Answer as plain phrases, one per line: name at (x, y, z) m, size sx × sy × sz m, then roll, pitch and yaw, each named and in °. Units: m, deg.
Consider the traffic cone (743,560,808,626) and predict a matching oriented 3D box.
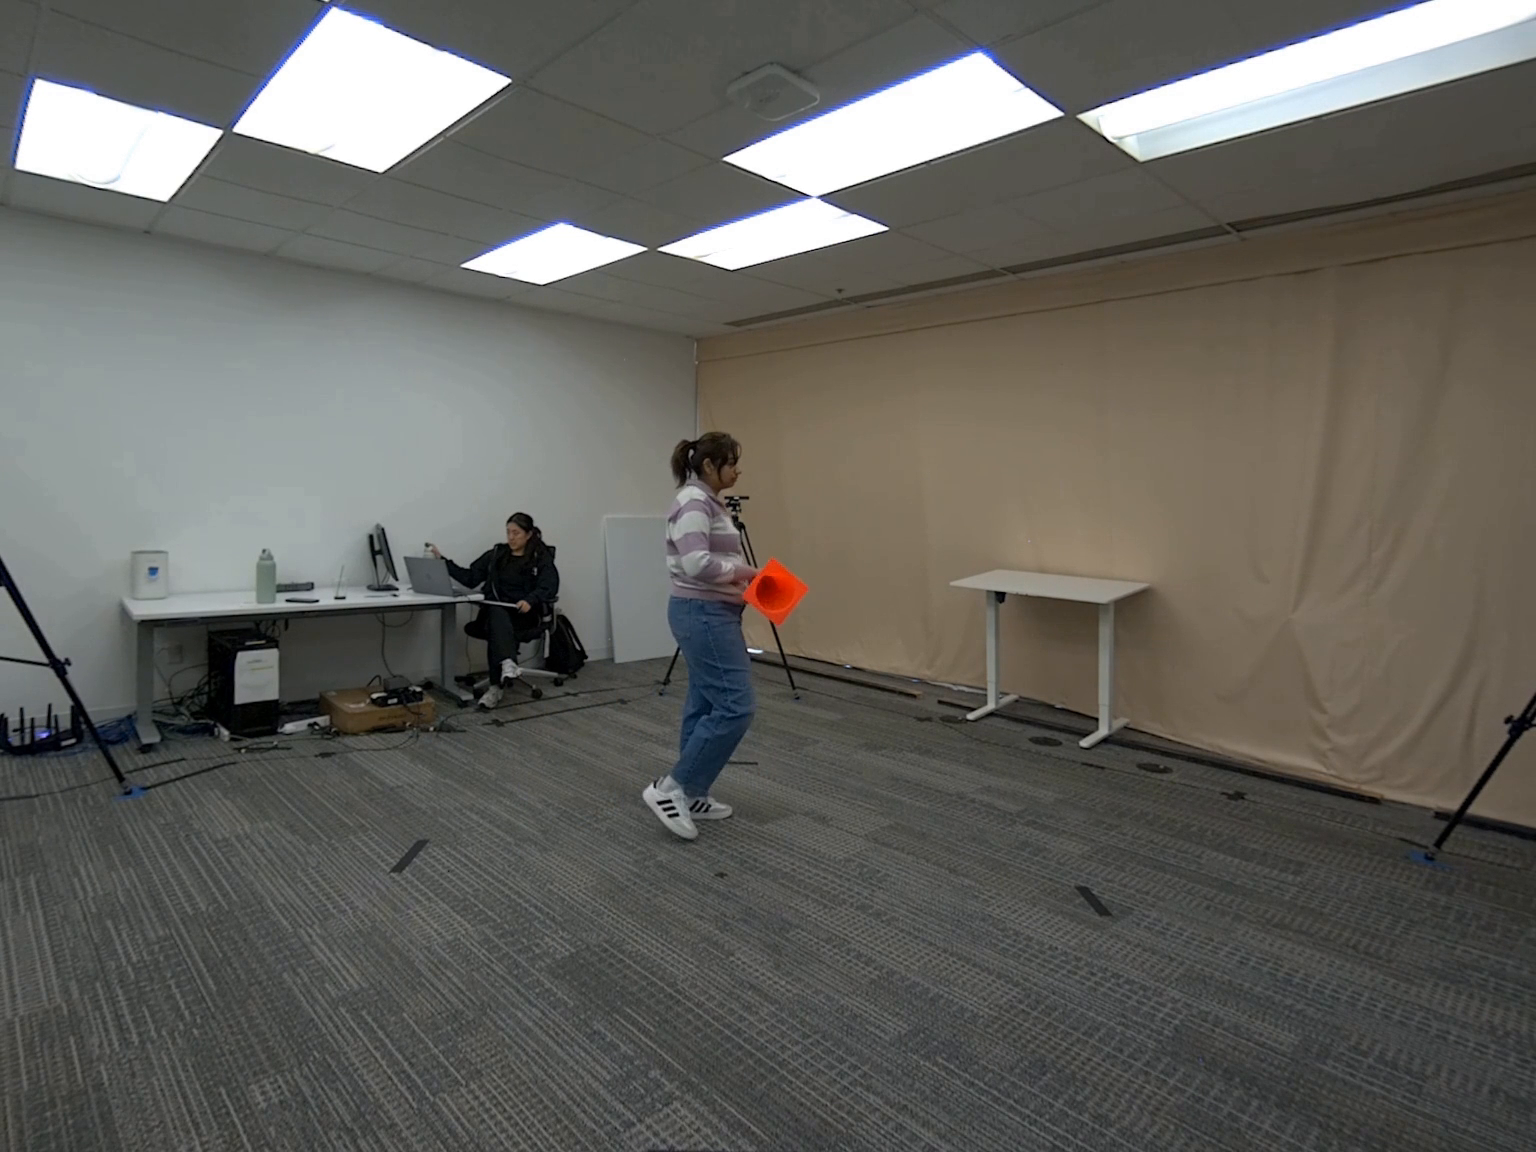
traffic cone at (-0.018, 0.067, 3.501) m, size 0.202 × 0.205 × 0.386 m, roll 40°, pitch -5°, yaw -8°
